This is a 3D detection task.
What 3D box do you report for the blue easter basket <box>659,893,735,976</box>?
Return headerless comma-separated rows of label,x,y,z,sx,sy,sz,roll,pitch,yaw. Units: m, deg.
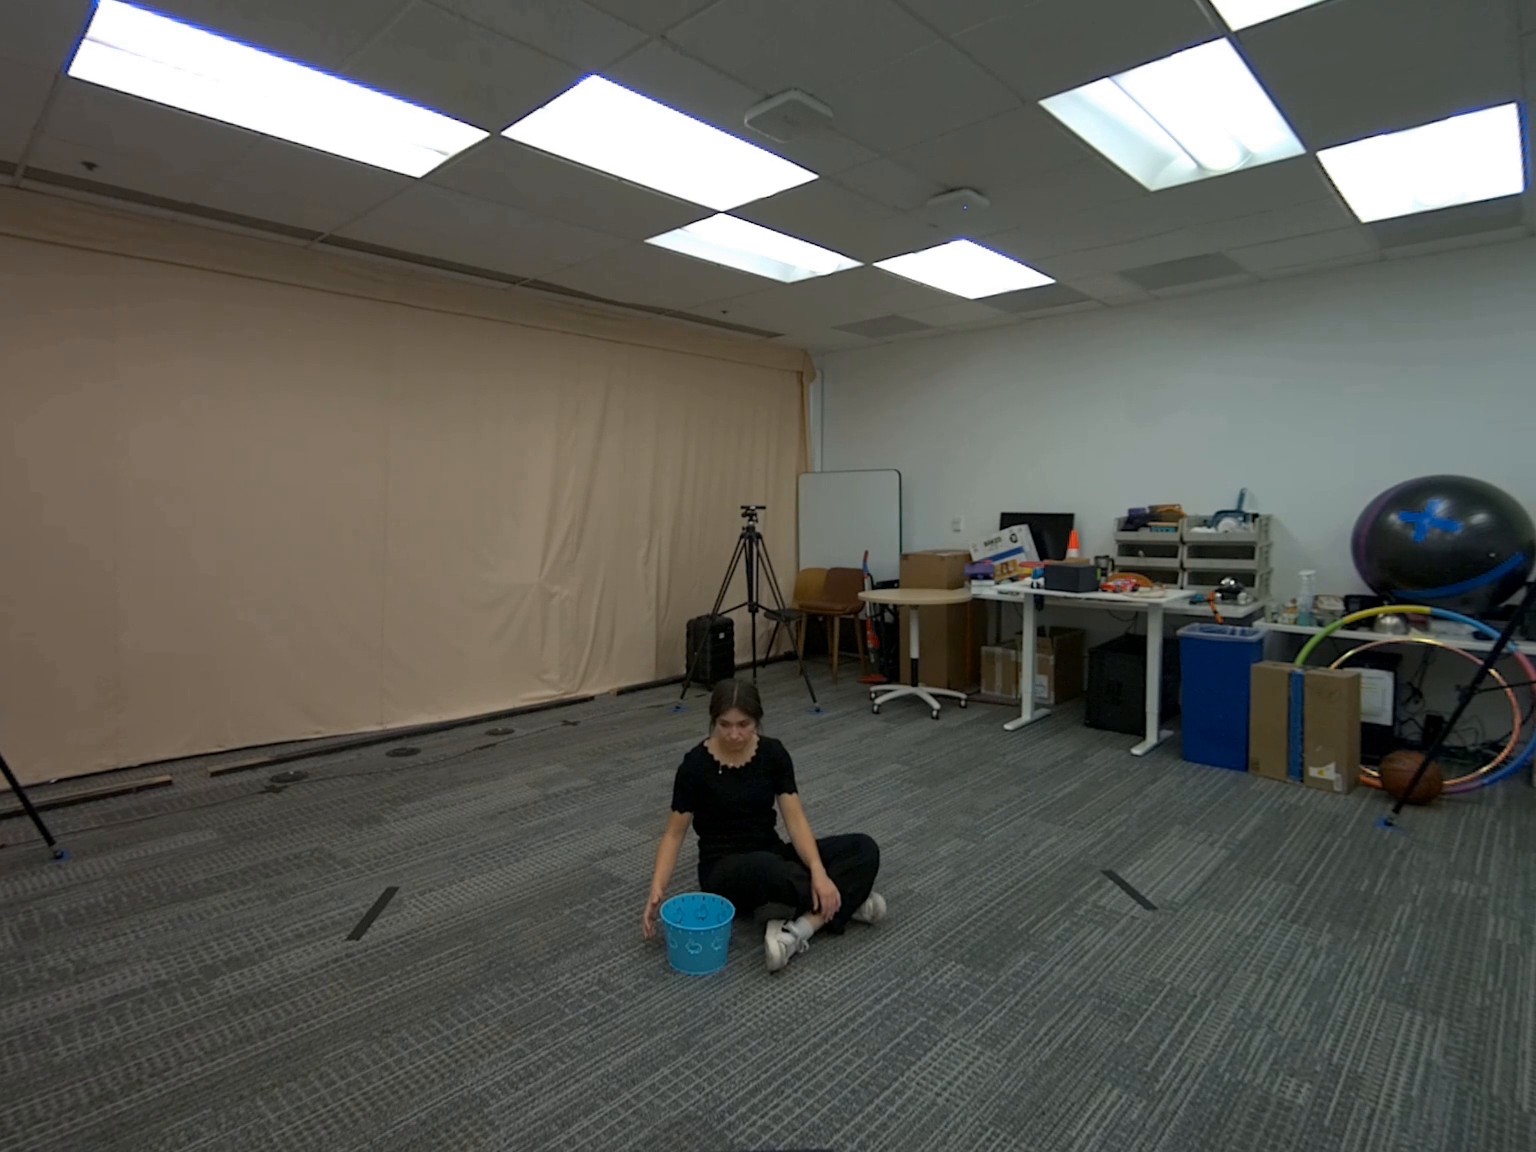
blue easter basket,-0.221,1.096,2.600,0.243,0.155,0.244,-1,5,-2
